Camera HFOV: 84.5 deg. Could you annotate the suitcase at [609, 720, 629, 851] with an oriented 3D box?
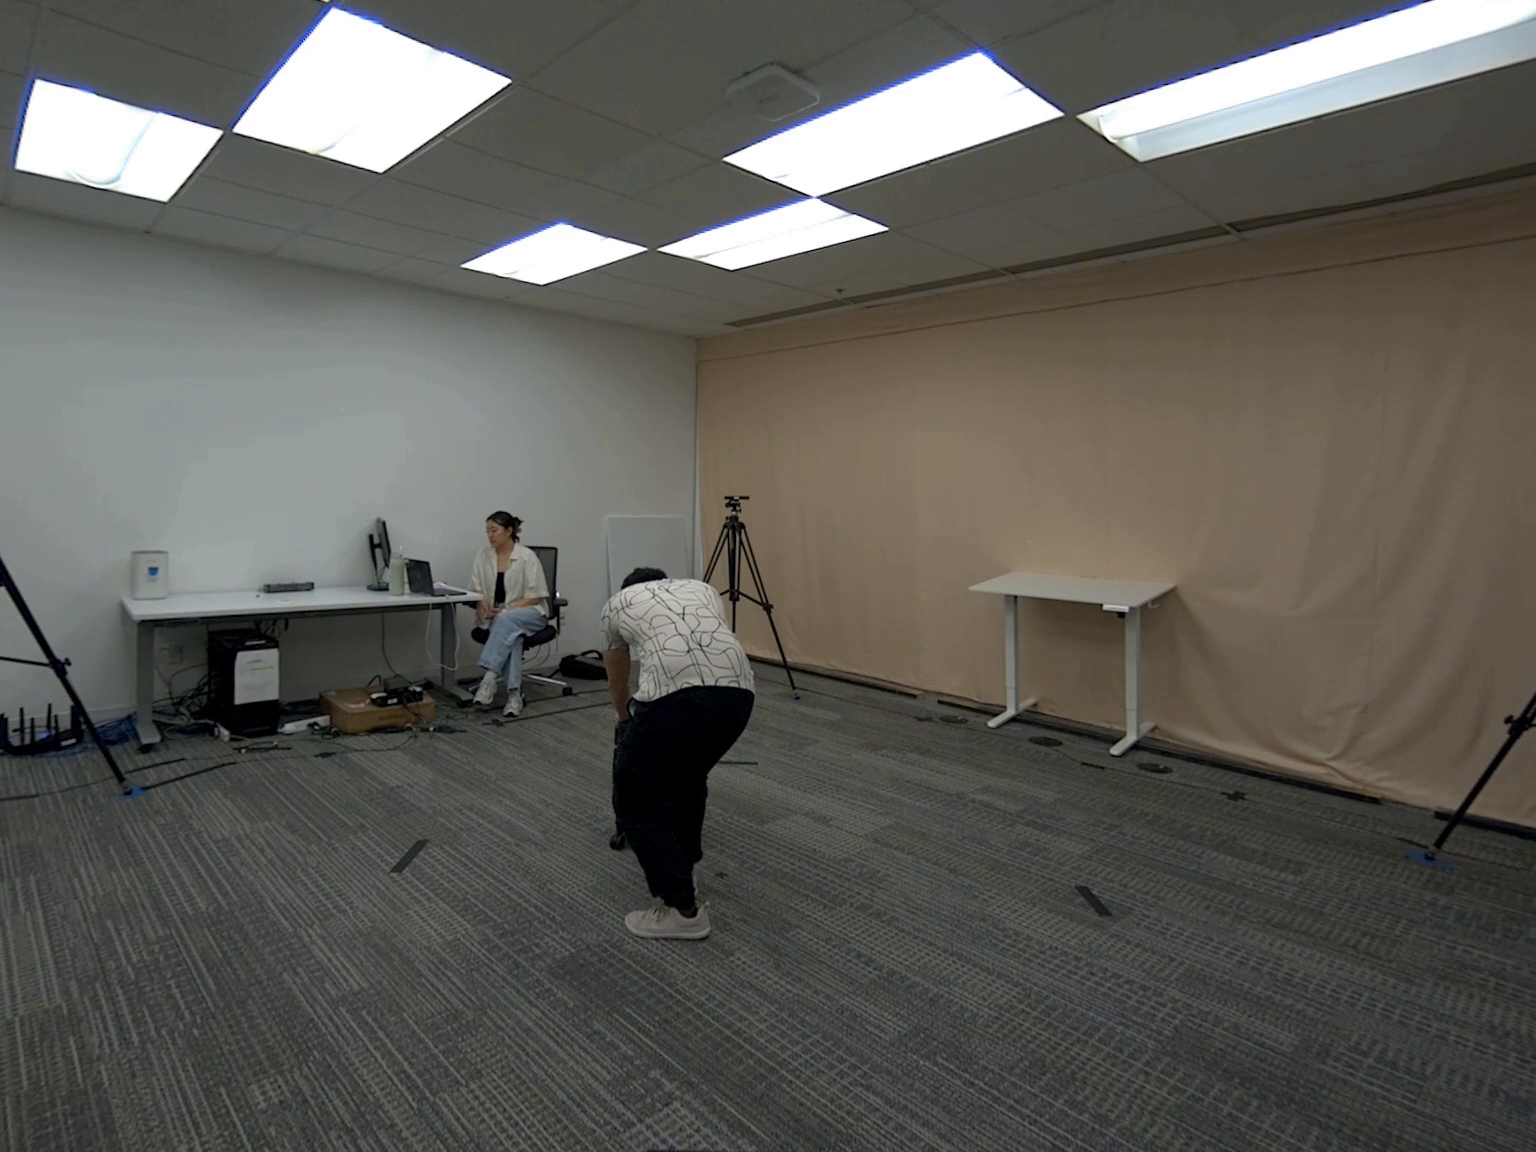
[{"bbox_3d":[-0.445,0.799,3.425,0.375,0.549,0.248,2,2,0],"label":"suitcase"}]
